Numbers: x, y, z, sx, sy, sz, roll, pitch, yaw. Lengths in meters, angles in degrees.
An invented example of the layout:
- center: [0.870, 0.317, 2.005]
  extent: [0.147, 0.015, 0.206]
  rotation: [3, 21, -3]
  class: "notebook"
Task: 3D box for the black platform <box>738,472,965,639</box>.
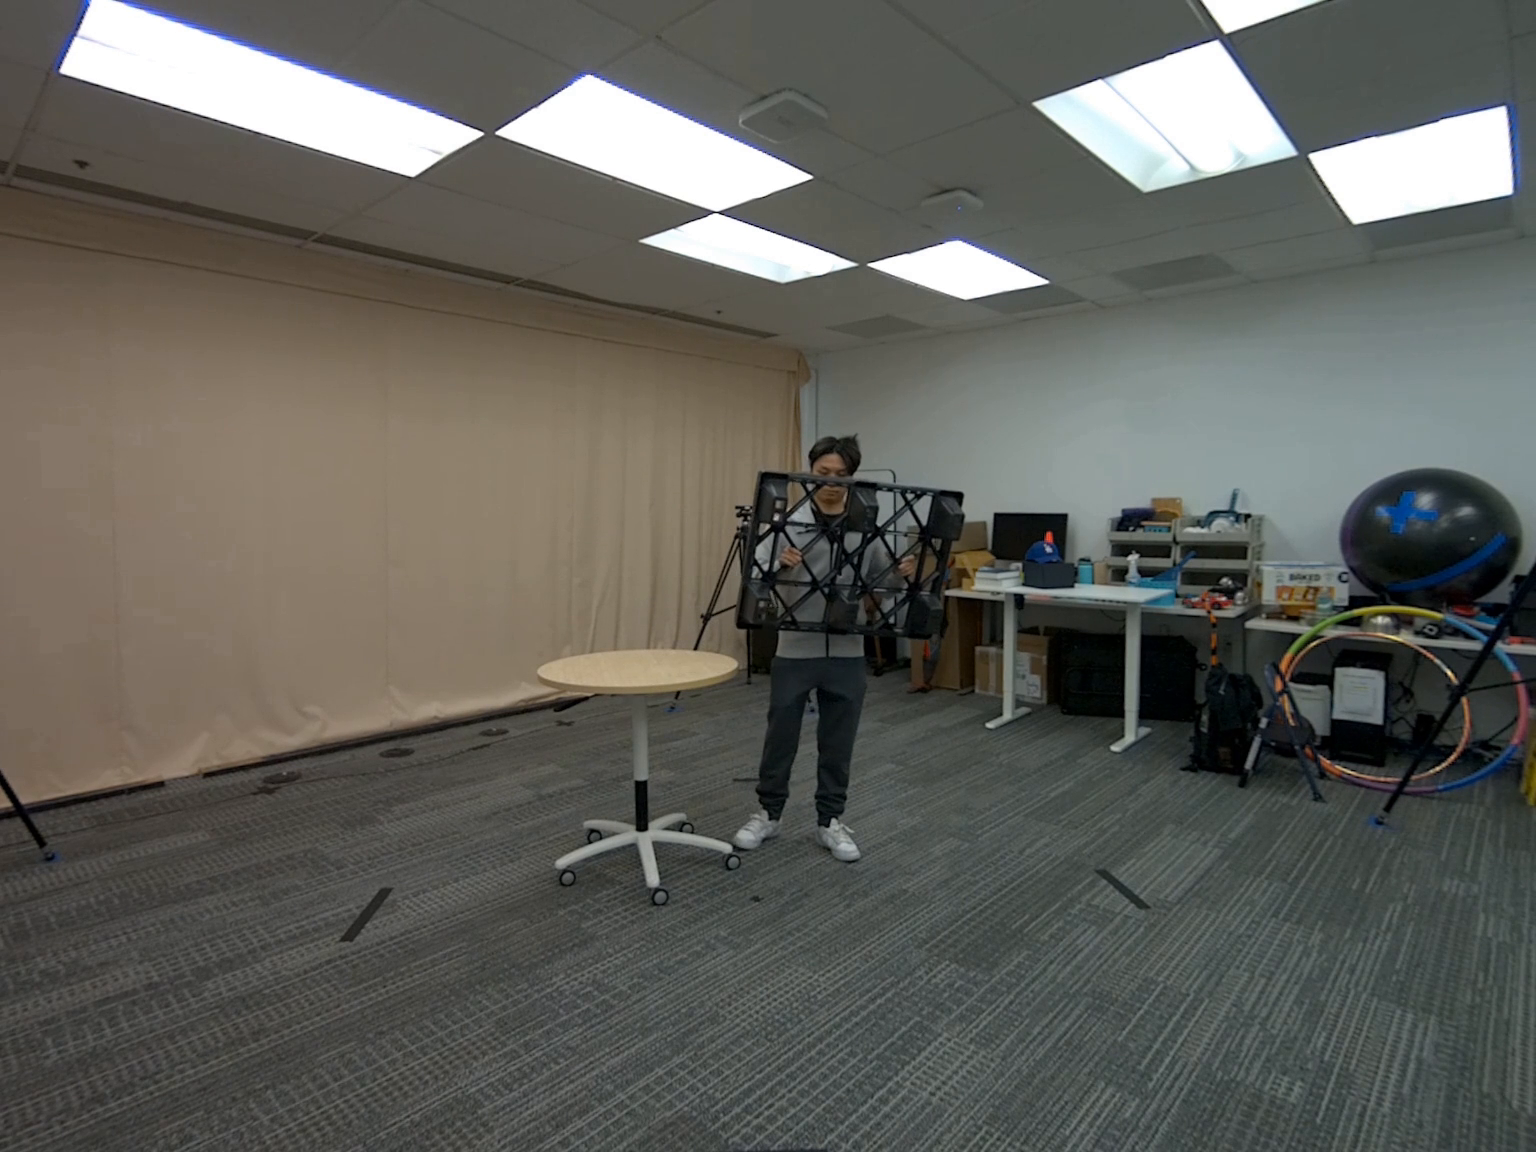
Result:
- center: [0.311, -0.045, 3.089]
  extent: [0.793, 0.601, 0.146]
  rotation: [5, 15, -14]
  class: "black platform"
